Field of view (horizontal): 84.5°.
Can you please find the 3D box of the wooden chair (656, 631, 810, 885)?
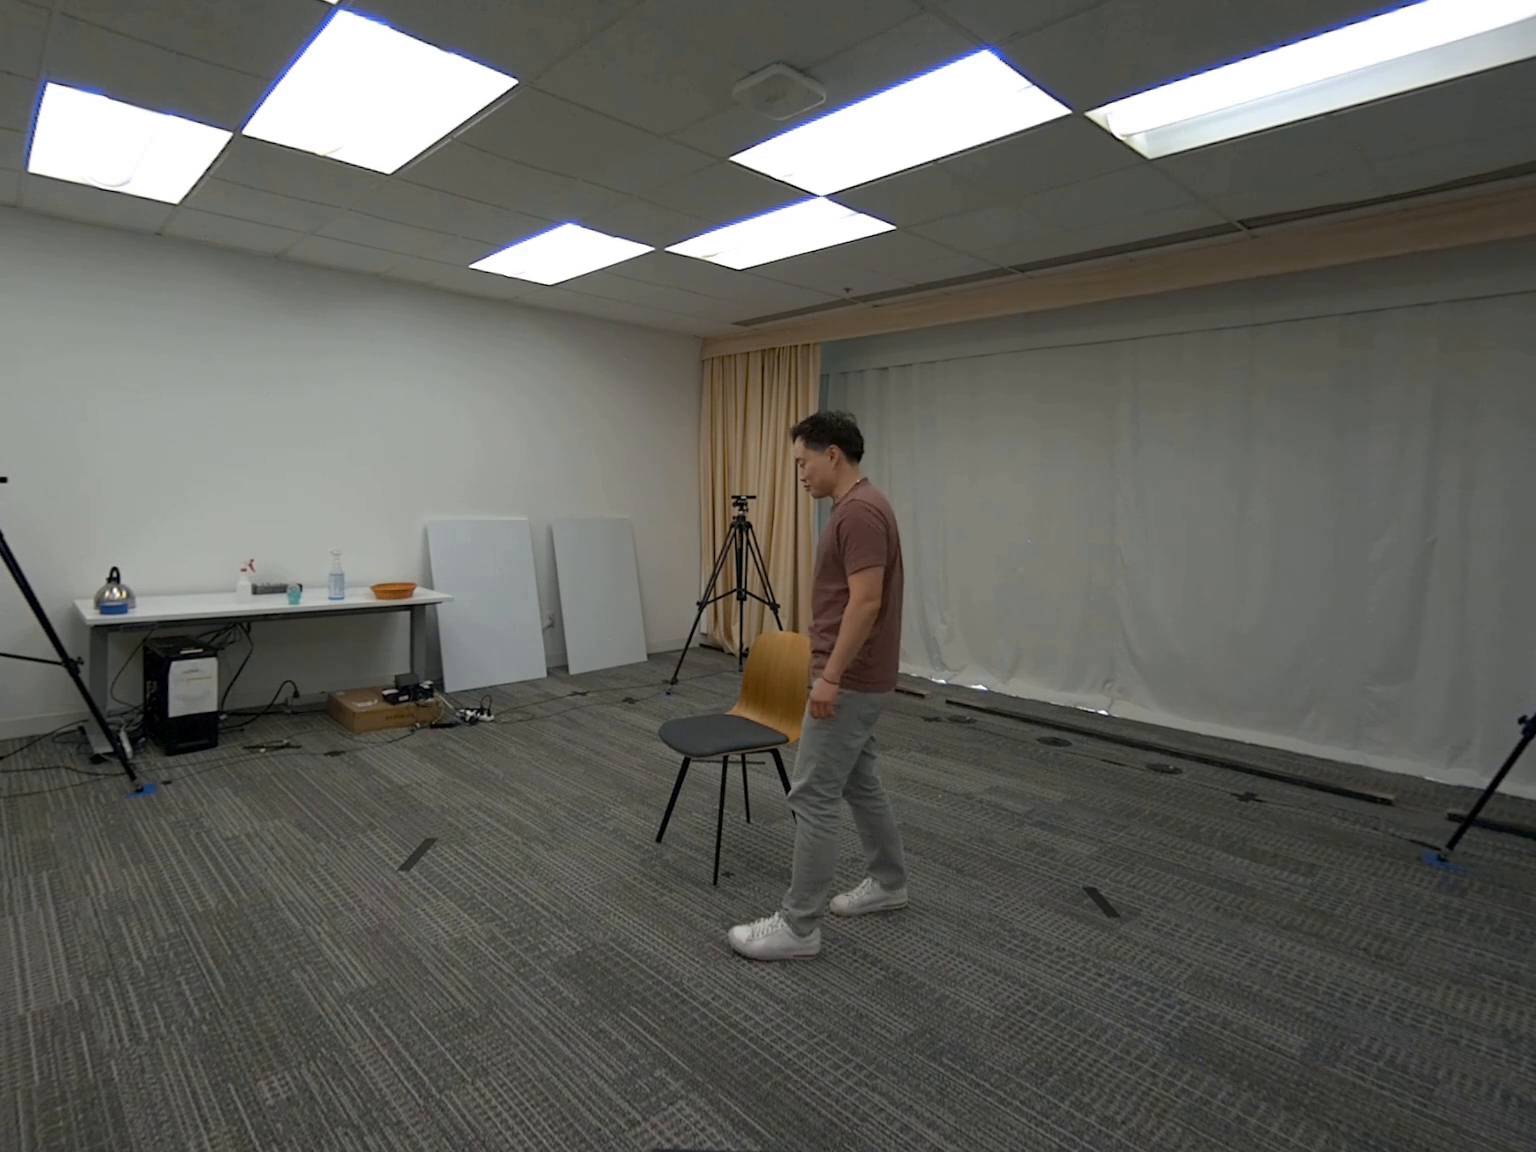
[{"bbox_3d":[-0.140,0.659,3.281,0.511,0.877,0.490,4,1,-34],"label":"wooden chair"}]
